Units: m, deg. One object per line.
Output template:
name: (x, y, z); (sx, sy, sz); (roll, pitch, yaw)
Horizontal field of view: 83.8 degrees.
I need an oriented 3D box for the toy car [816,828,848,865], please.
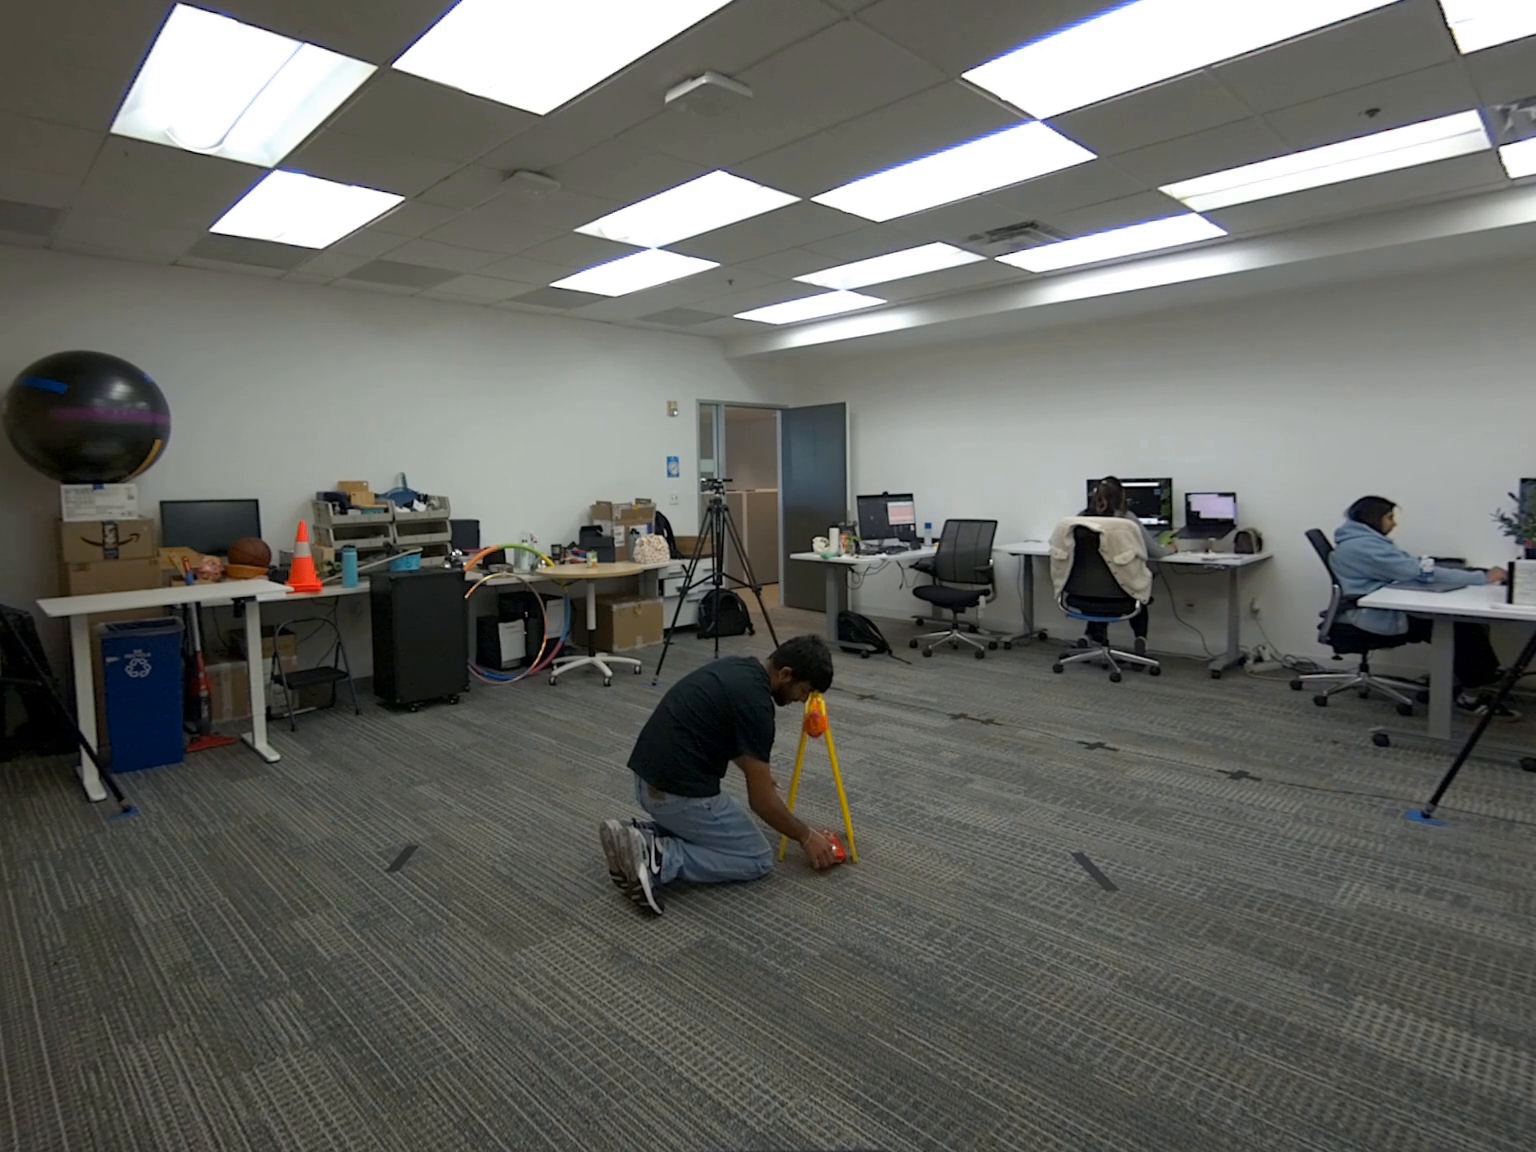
toy car: (0.218, 0.999, 3.138); (0.129, 0.083, 0.256); (0, -1, -8)
